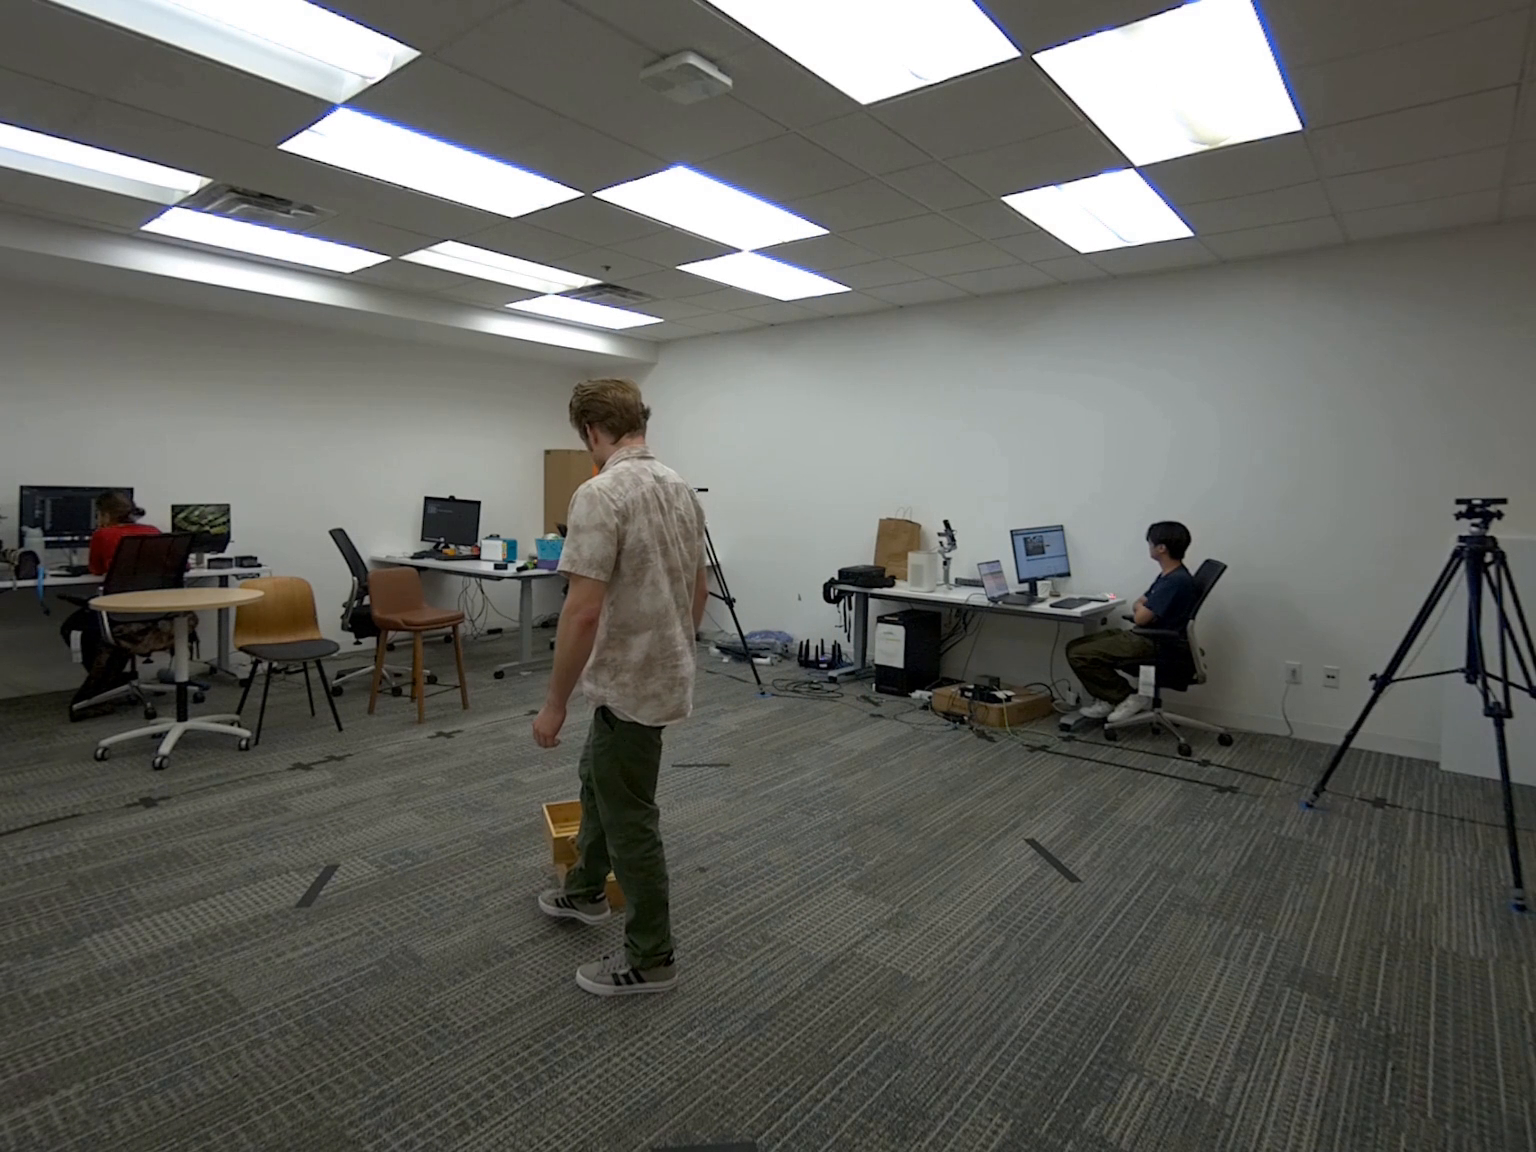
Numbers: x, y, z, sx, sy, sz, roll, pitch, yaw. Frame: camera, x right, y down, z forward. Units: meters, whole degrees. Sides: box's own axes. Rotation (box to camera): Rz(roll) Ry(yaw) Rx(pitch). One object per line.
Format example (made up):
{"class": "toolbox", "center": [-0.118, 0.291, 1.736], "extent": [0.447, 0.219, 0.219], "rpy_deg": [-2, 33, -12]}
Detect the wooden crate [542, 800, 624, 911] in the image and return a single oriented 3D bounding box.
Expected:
{"class": "wooden crate", "center": [-0.618, 0.942, 2.932], "extent": [0.295, 0.272, 0.333], "rpy_deg": [0, 5, -22]}
